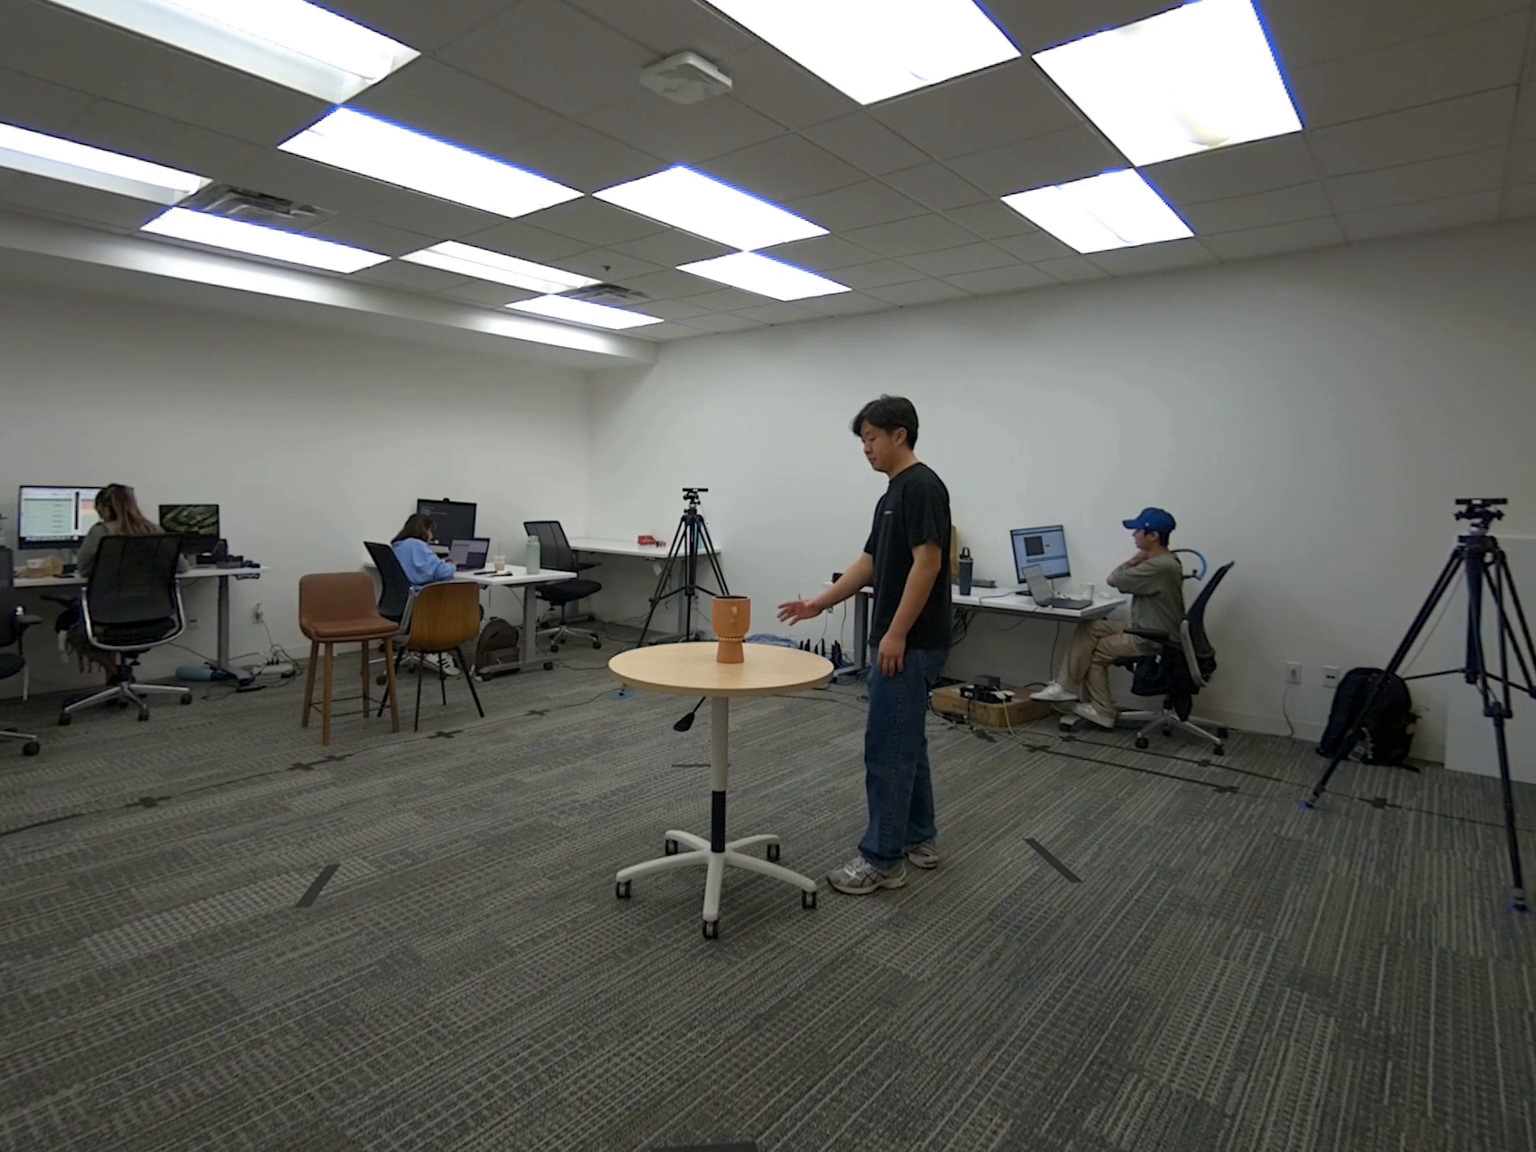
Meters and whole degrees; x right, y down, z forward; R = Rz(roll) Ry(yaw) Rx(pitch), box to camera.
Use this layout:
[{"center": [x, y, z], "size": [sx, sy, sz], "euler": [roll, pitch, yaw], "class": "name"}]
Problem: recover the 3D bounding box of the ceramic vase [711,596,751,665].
[{"center": [-0.134, 0.181, 2.941], "size": [0.138, 0.219, 0.155], "euler": [2, 3, 28], "class": "ceramic vase"}]
